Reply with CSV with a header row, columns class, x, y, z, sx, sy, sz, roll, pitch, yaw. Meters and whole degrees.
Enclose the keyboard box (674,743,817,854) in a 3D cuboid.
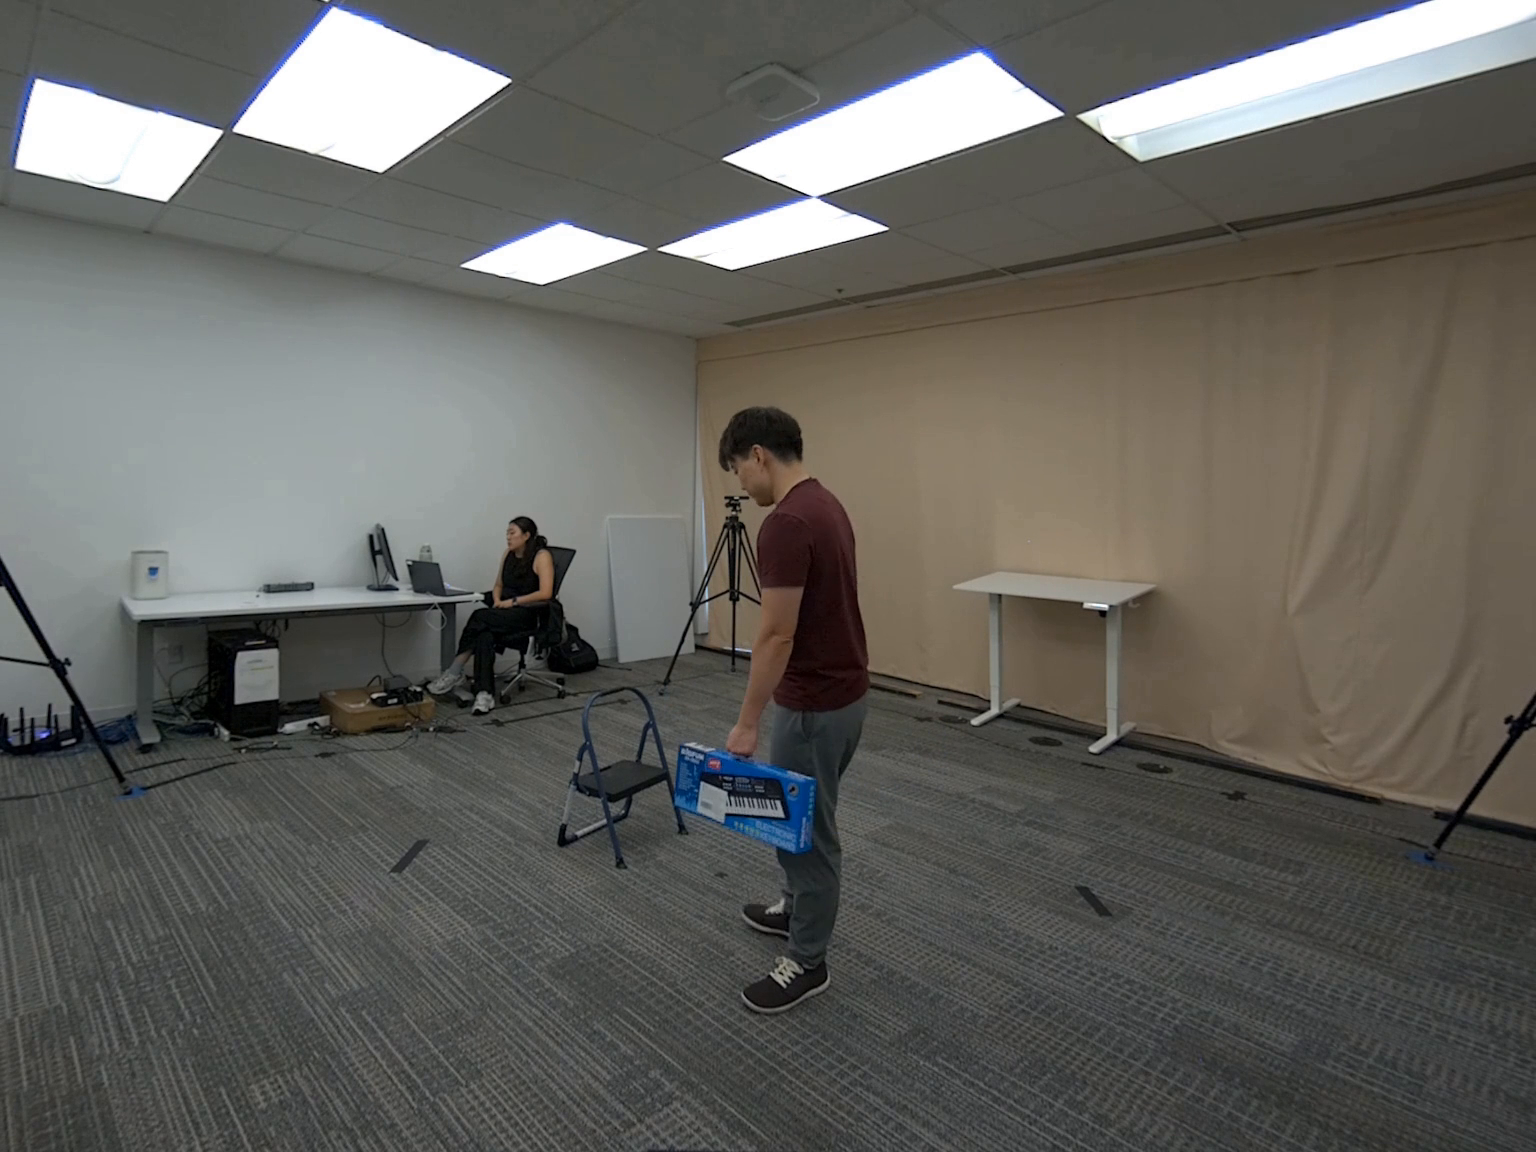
class,x,y,z,sx,sy,sz,roll,pitch,yaw
keyboard box,-0.068,0.566,2.182,0.448,0.176,0.057,5,-1,42
